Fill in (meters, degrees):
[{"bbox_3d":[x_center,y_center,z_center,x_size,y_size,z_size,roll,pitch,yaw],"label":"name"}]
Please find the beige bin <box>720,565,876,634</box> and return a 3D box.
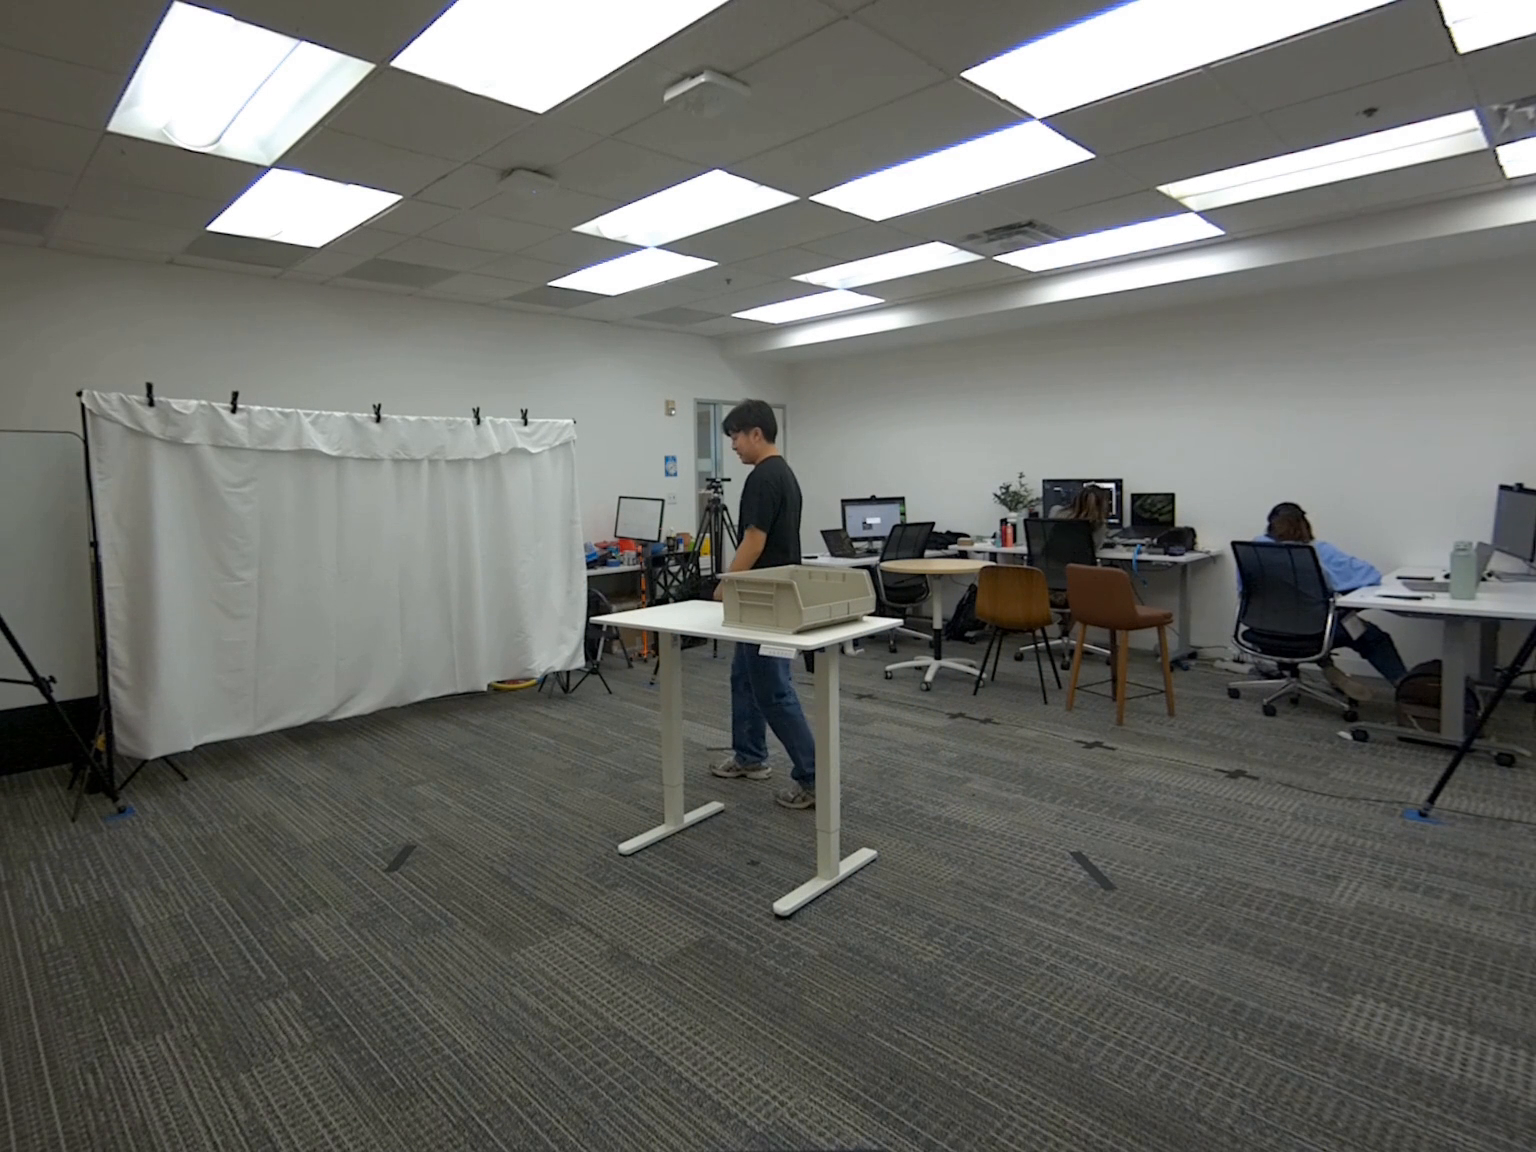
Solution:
[{"bbox_3d":[0.101,0.081,2.994,0.389,0.188,0.411,2,7,42],"label":"beige bin"}]
